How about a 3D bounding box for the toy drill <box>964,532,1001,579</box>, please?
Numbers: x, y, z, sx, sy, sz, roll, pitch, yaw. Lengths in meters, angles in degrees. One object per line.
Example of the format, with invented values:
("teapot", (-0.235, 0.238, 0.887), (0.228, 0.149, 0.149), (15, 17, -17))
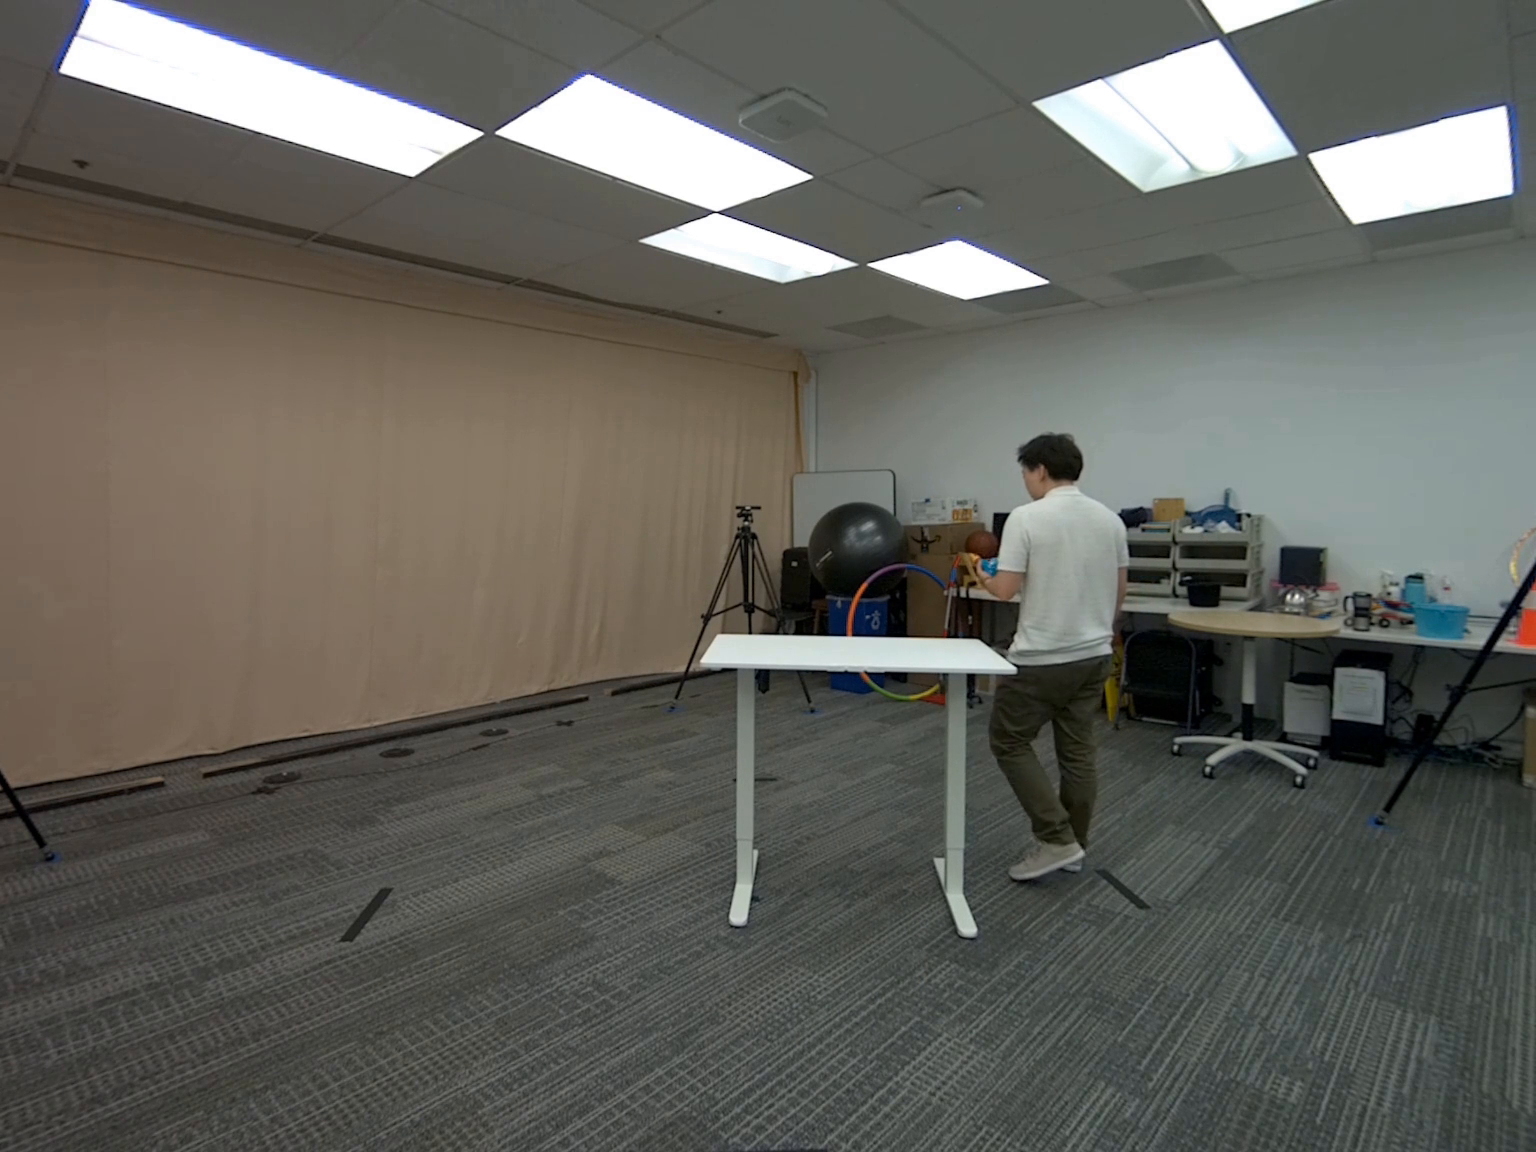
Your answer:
("toy drill", (0.914, -0.067, 3.452), (0.059, 0.146, 0.175), (36, 13, -42))
